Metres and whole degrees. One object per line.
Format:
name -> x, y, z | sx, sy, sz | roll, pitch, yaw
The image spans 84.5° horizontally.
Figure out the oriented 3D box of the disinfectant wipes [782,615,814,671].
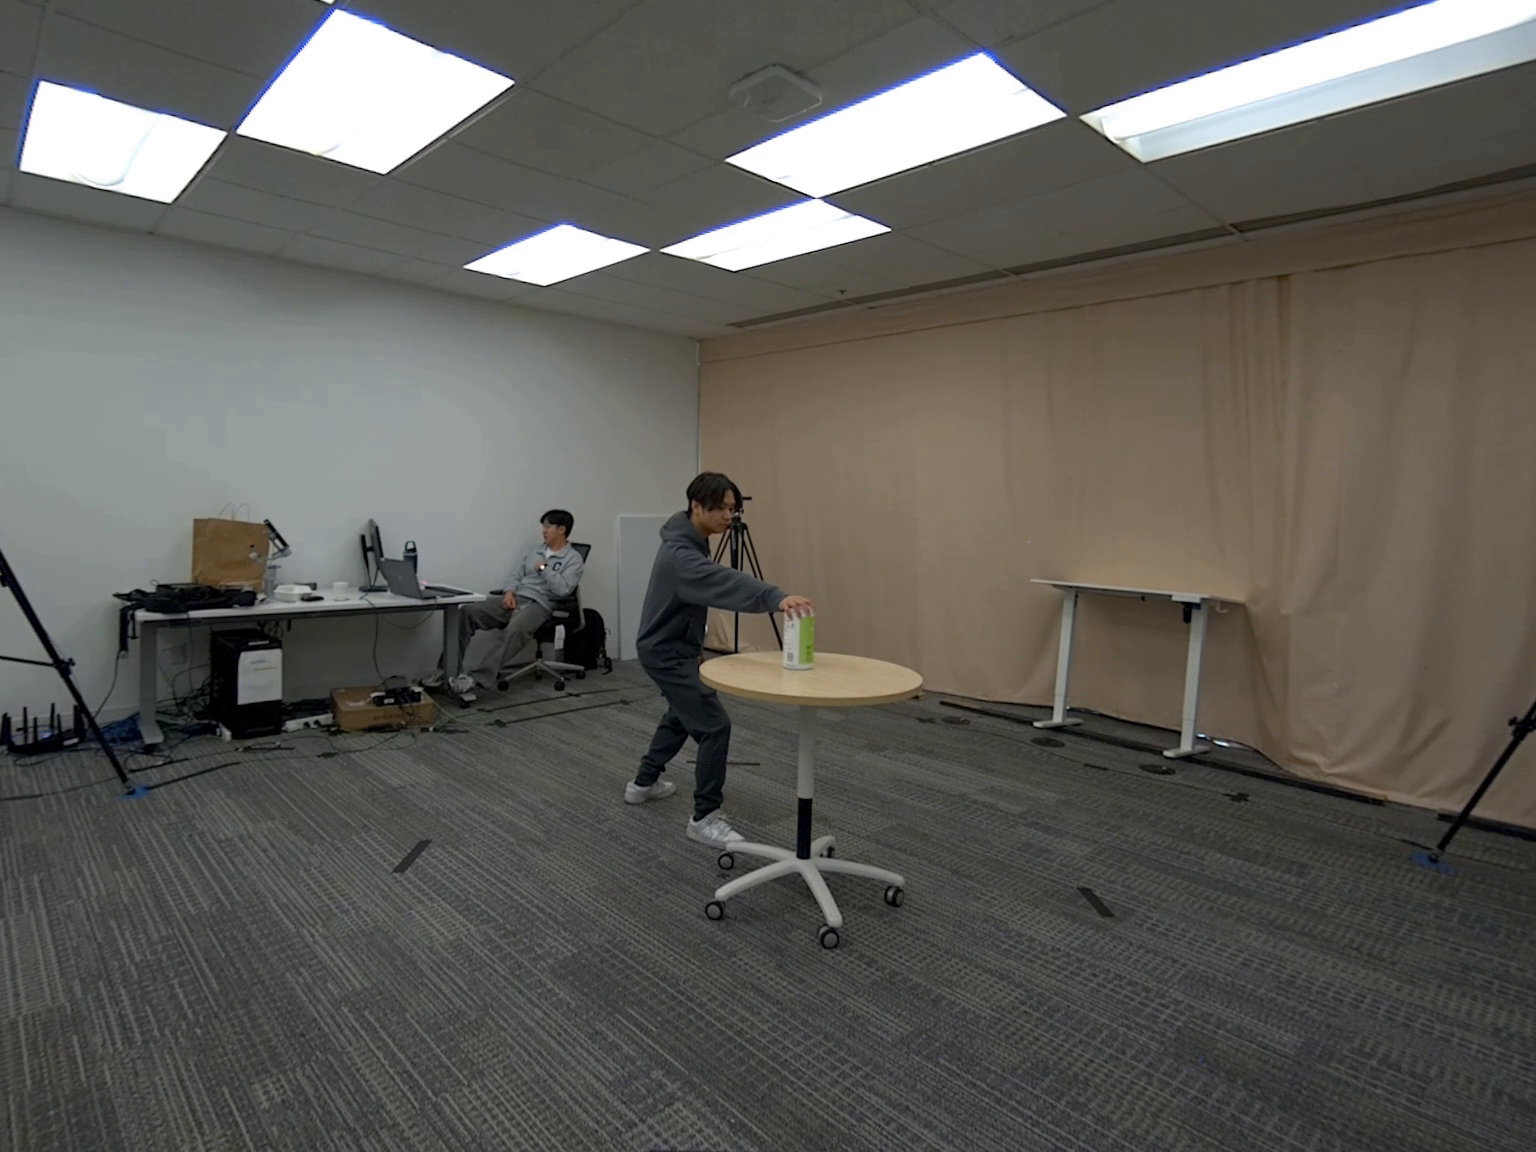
disinfectant wipes -> 0.104, 0.219, 2.982 | 0.118, 0.217, 0.118 | 1, 2, -1
